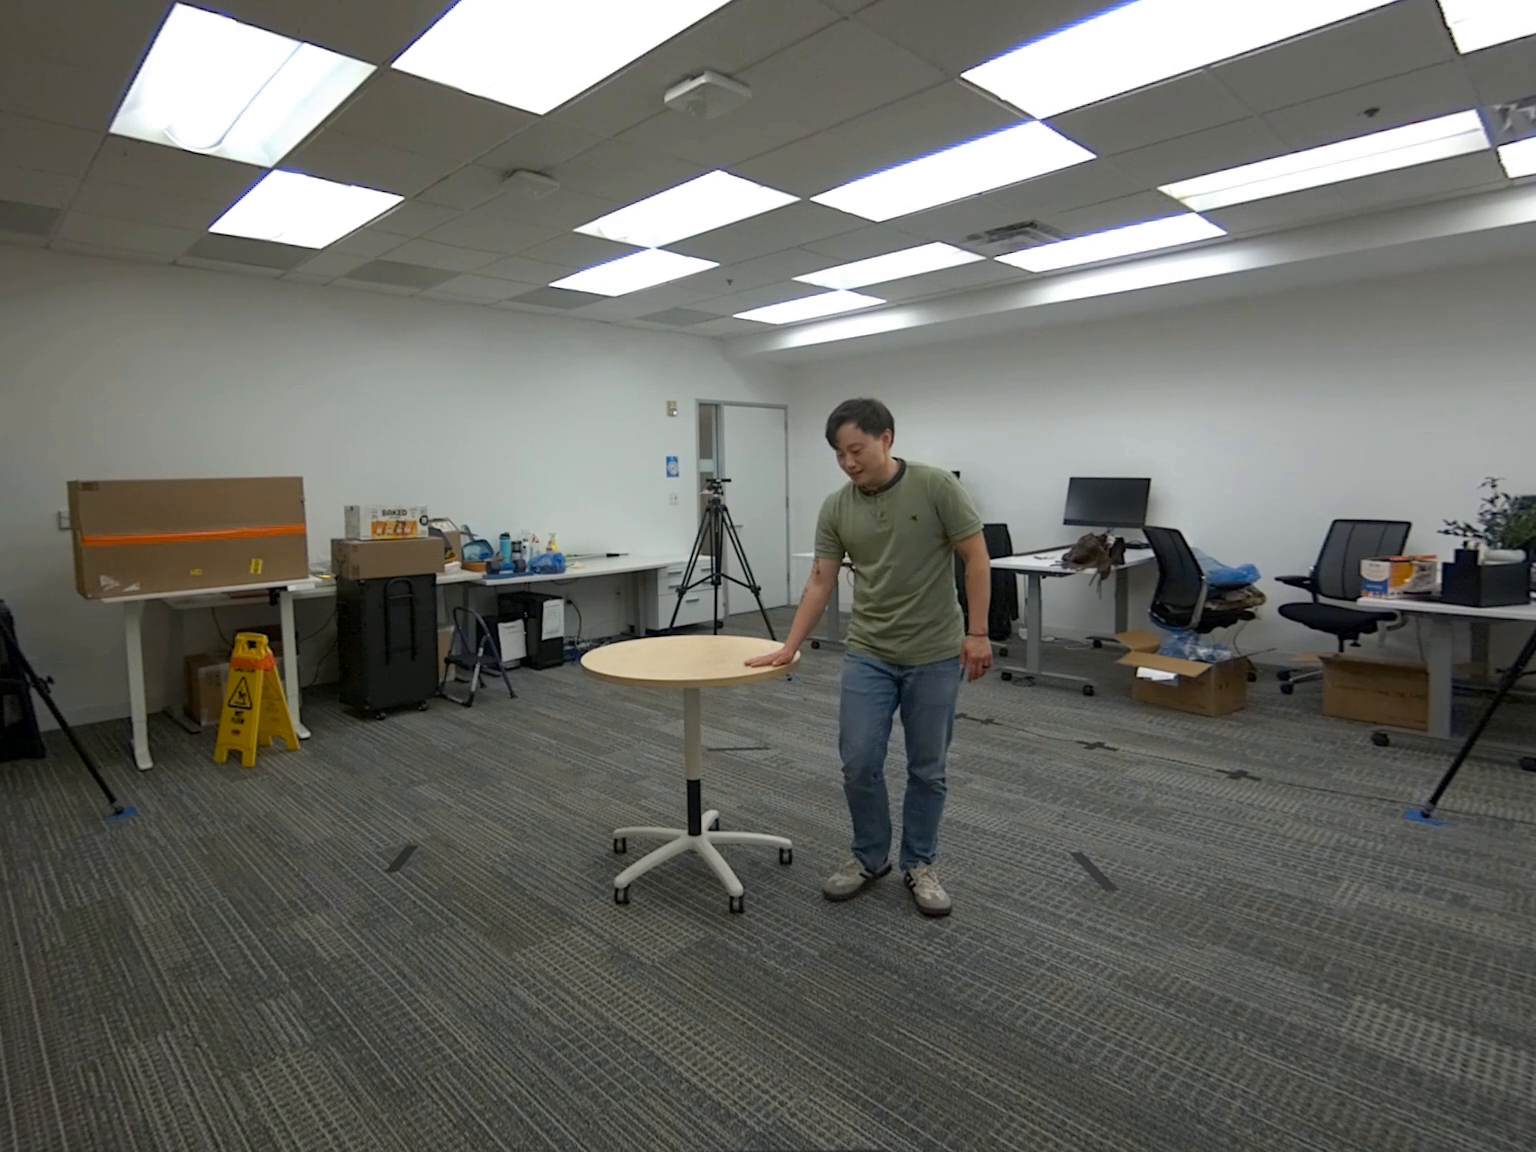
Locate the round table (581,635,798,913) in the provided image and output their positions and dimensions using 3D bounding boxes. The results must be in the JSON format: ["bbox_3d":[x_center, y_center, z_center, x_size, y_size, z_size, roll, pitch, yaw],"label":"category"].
[{"bbox_3d":[-0.263,0.670,3.022,0.763,0.791,0.768,-1,5,-2],"label":"round table"}]
